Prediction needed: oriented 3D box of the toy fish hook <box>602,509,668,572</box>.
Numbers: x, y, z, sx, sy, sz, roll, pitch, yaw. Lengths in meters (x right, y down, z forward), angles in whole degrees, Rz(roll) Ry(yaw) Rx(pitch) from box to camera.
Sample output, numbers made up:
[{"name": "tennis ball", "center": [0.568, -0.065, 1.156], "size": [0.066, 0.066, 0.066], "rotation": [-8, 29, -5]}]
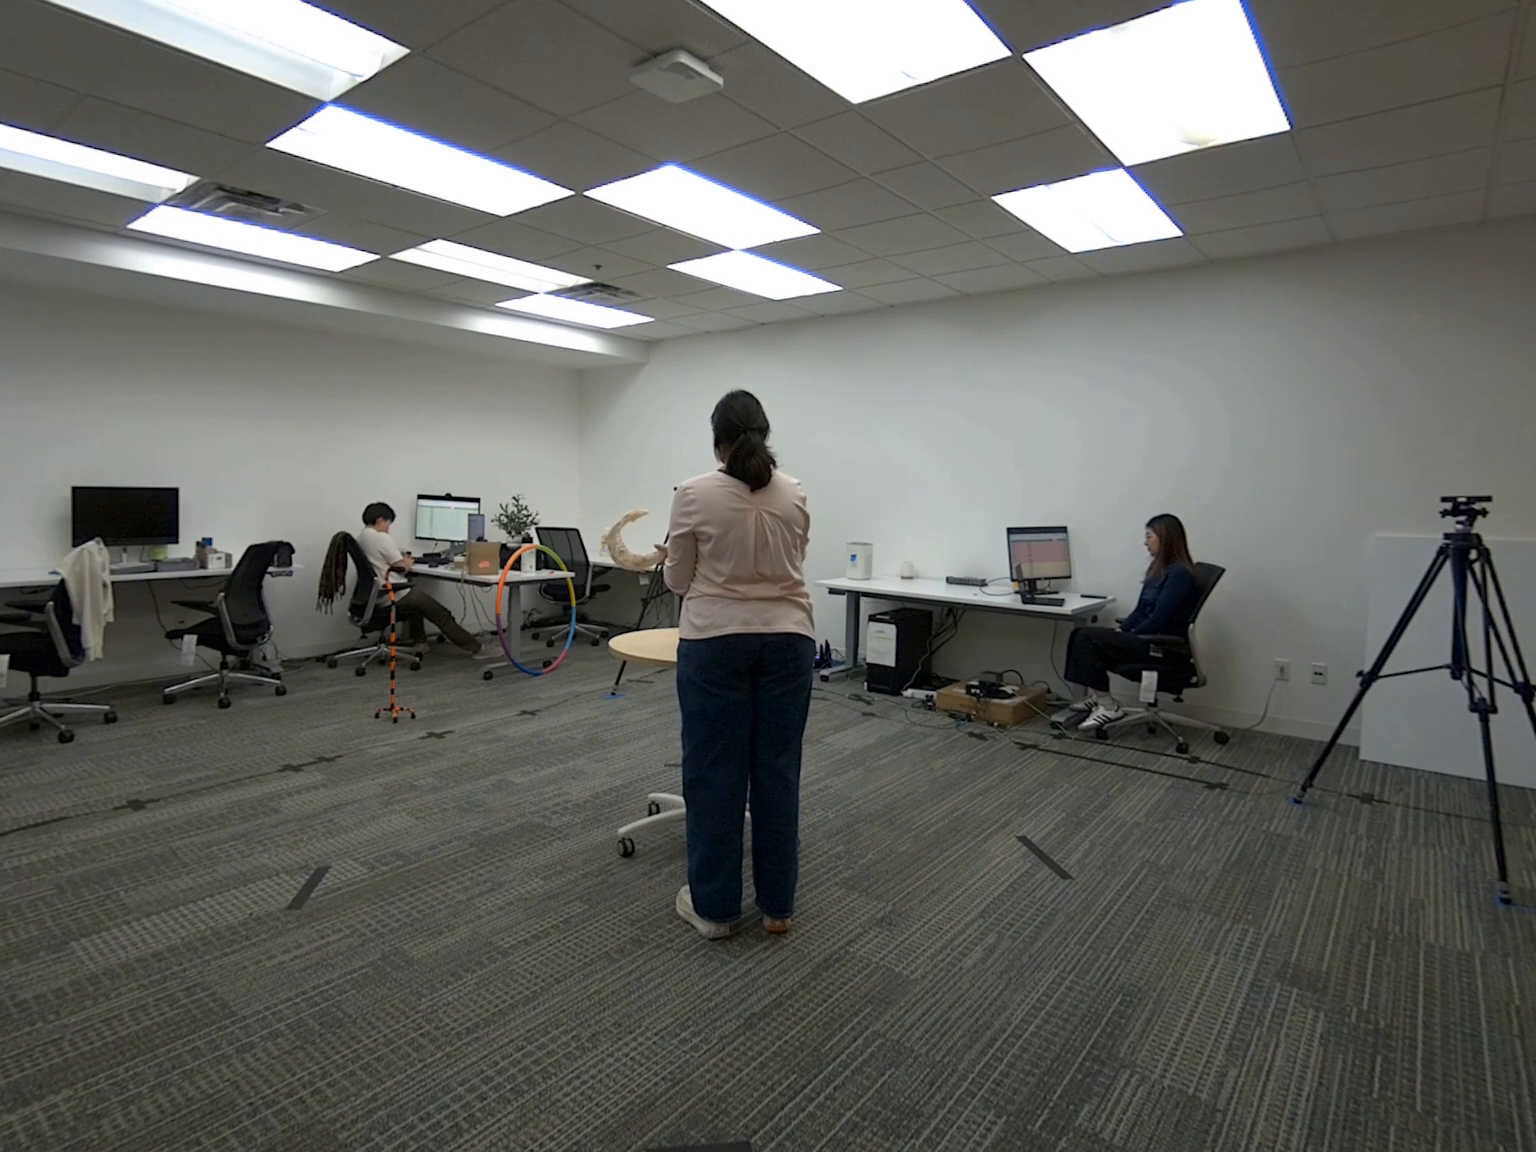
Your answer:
[{"name": "toy fish hook", "center": [-0.341, -0.178, 3.085], "size": [0.502, 0.228, 0.048], "rotation": [-23, -12, -15]}]
